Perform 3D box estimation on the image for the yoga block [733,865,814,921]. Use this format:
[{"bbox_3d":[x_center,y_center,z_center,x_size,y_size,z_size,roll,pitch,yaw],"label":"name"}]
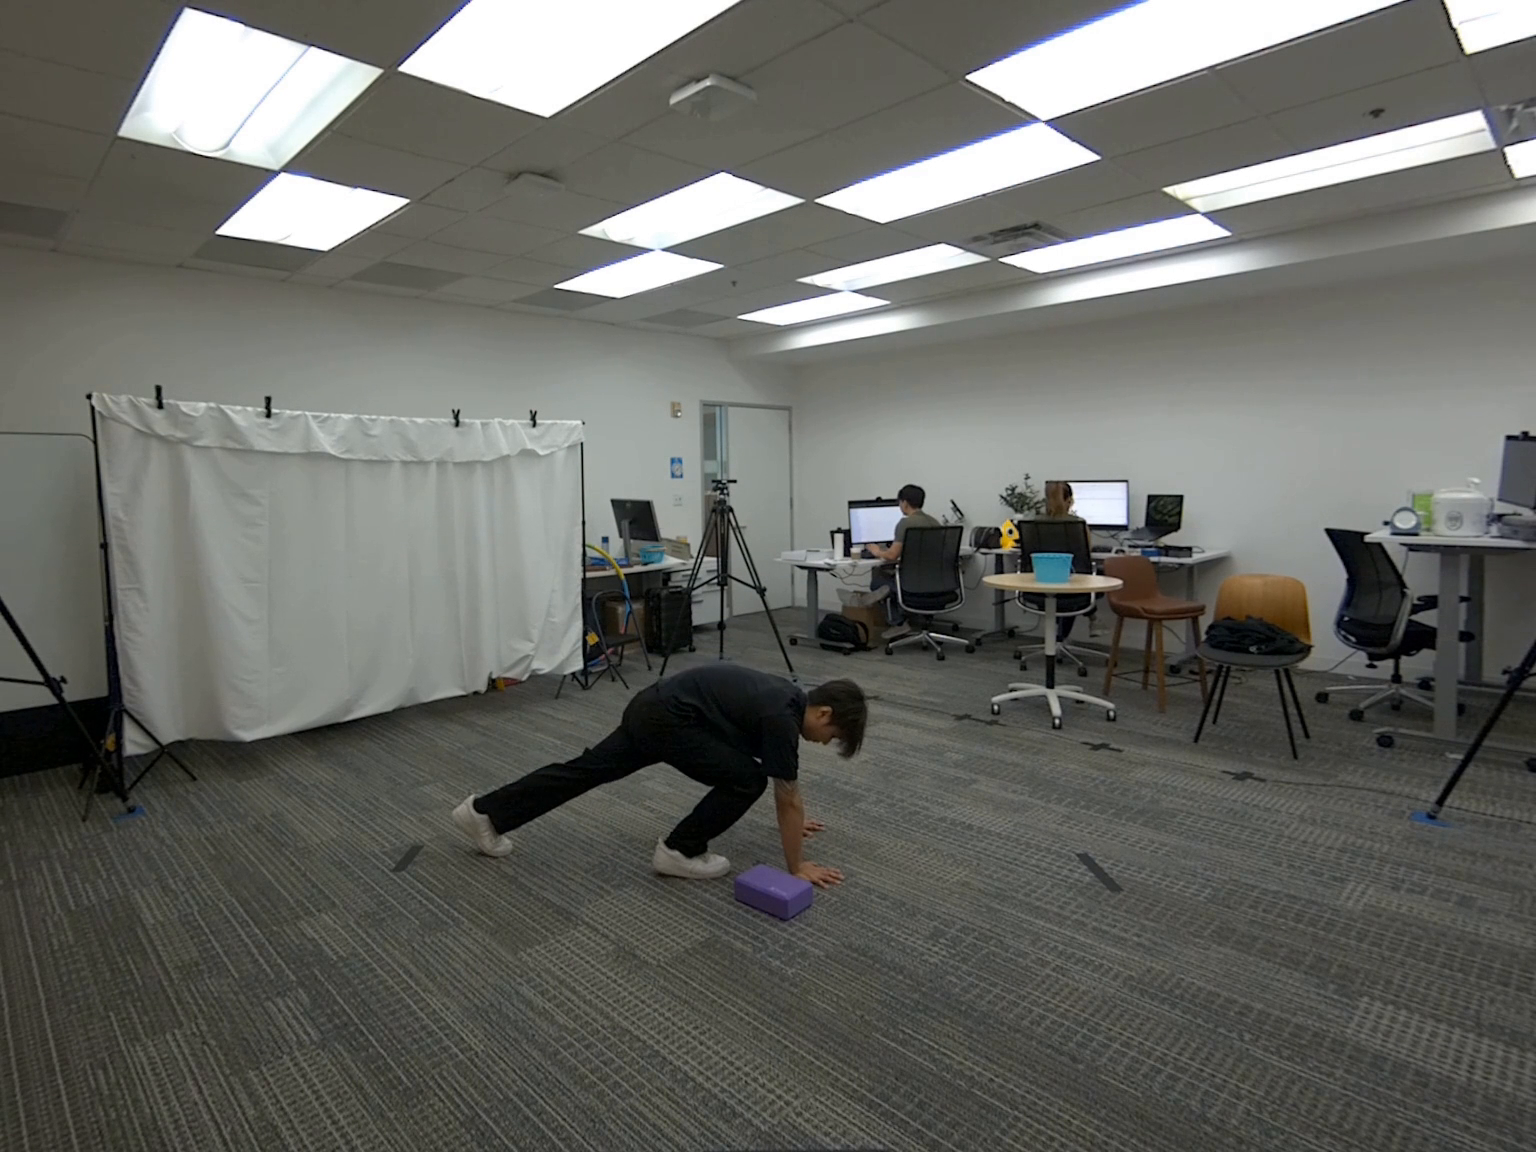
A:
[{"bbox_3d":[0.020,1.037,2.822,0.236,0.076,0.145,4,7,41],"label":"yoga block"}]
